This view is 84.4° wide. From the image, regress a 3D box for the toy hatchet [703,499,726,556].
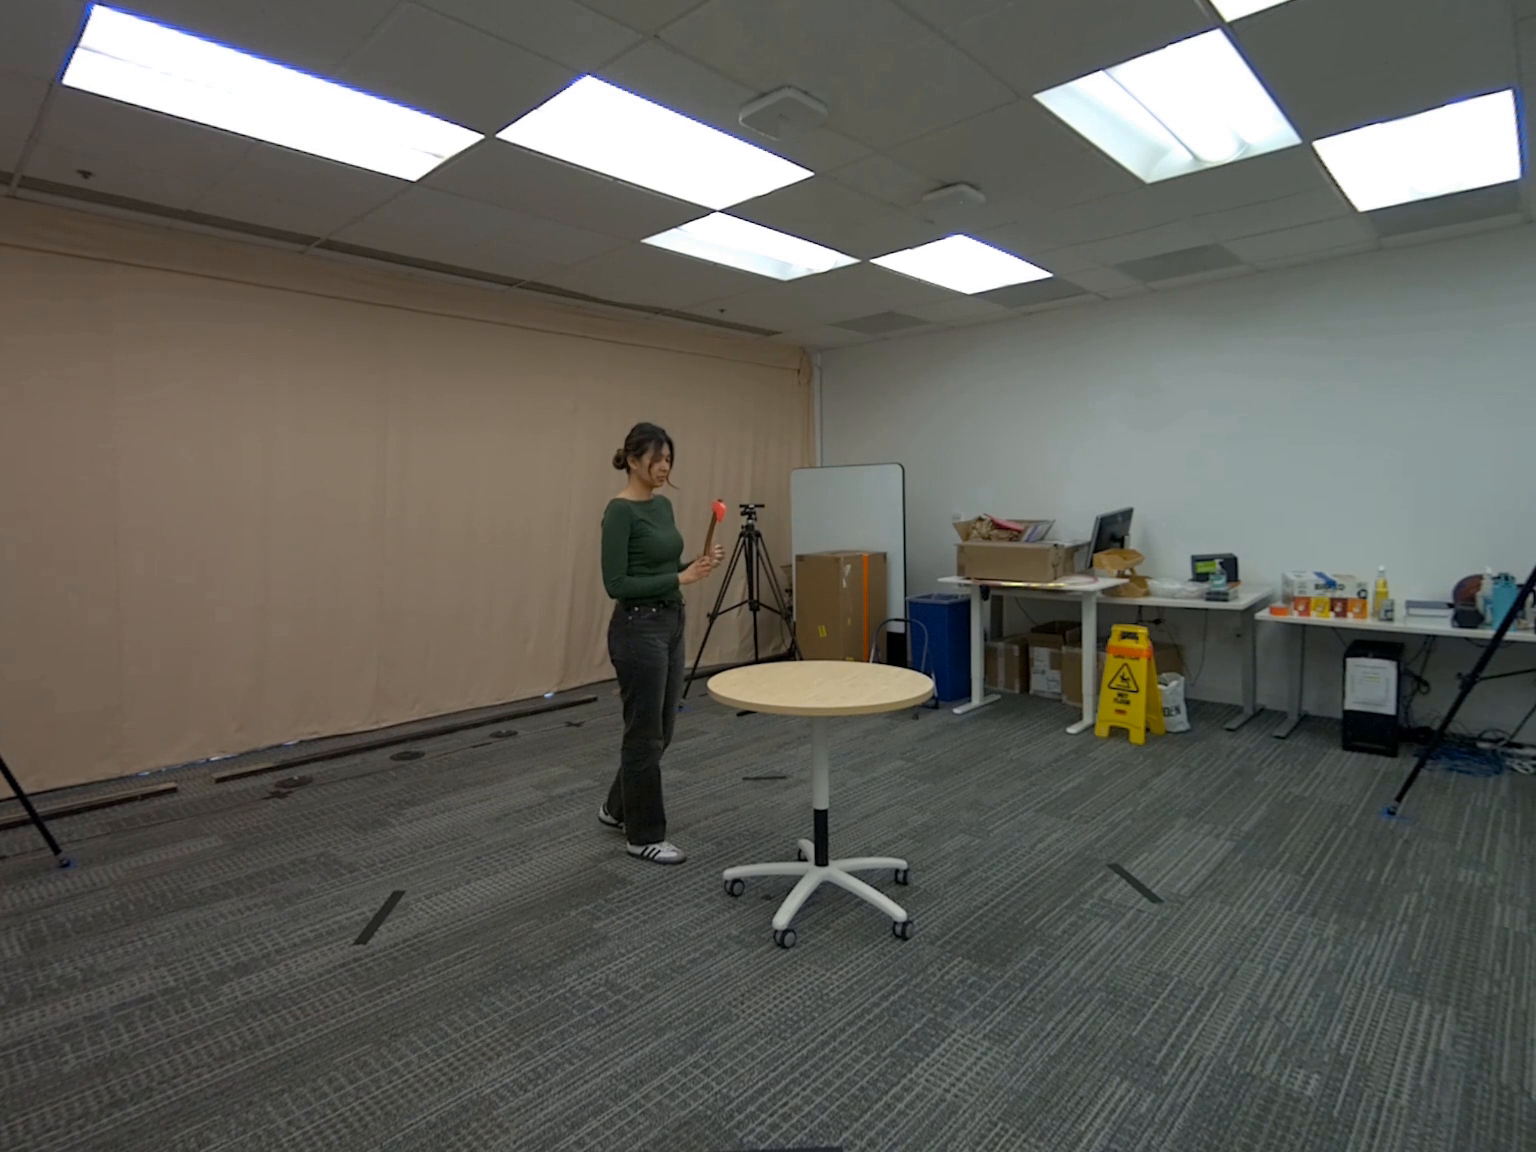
[{"bbox_3d":[-0.200,-0.163,3.153,0.029,0.271,0.134,14,-9,-28],"label":"toy hatchet"}]
